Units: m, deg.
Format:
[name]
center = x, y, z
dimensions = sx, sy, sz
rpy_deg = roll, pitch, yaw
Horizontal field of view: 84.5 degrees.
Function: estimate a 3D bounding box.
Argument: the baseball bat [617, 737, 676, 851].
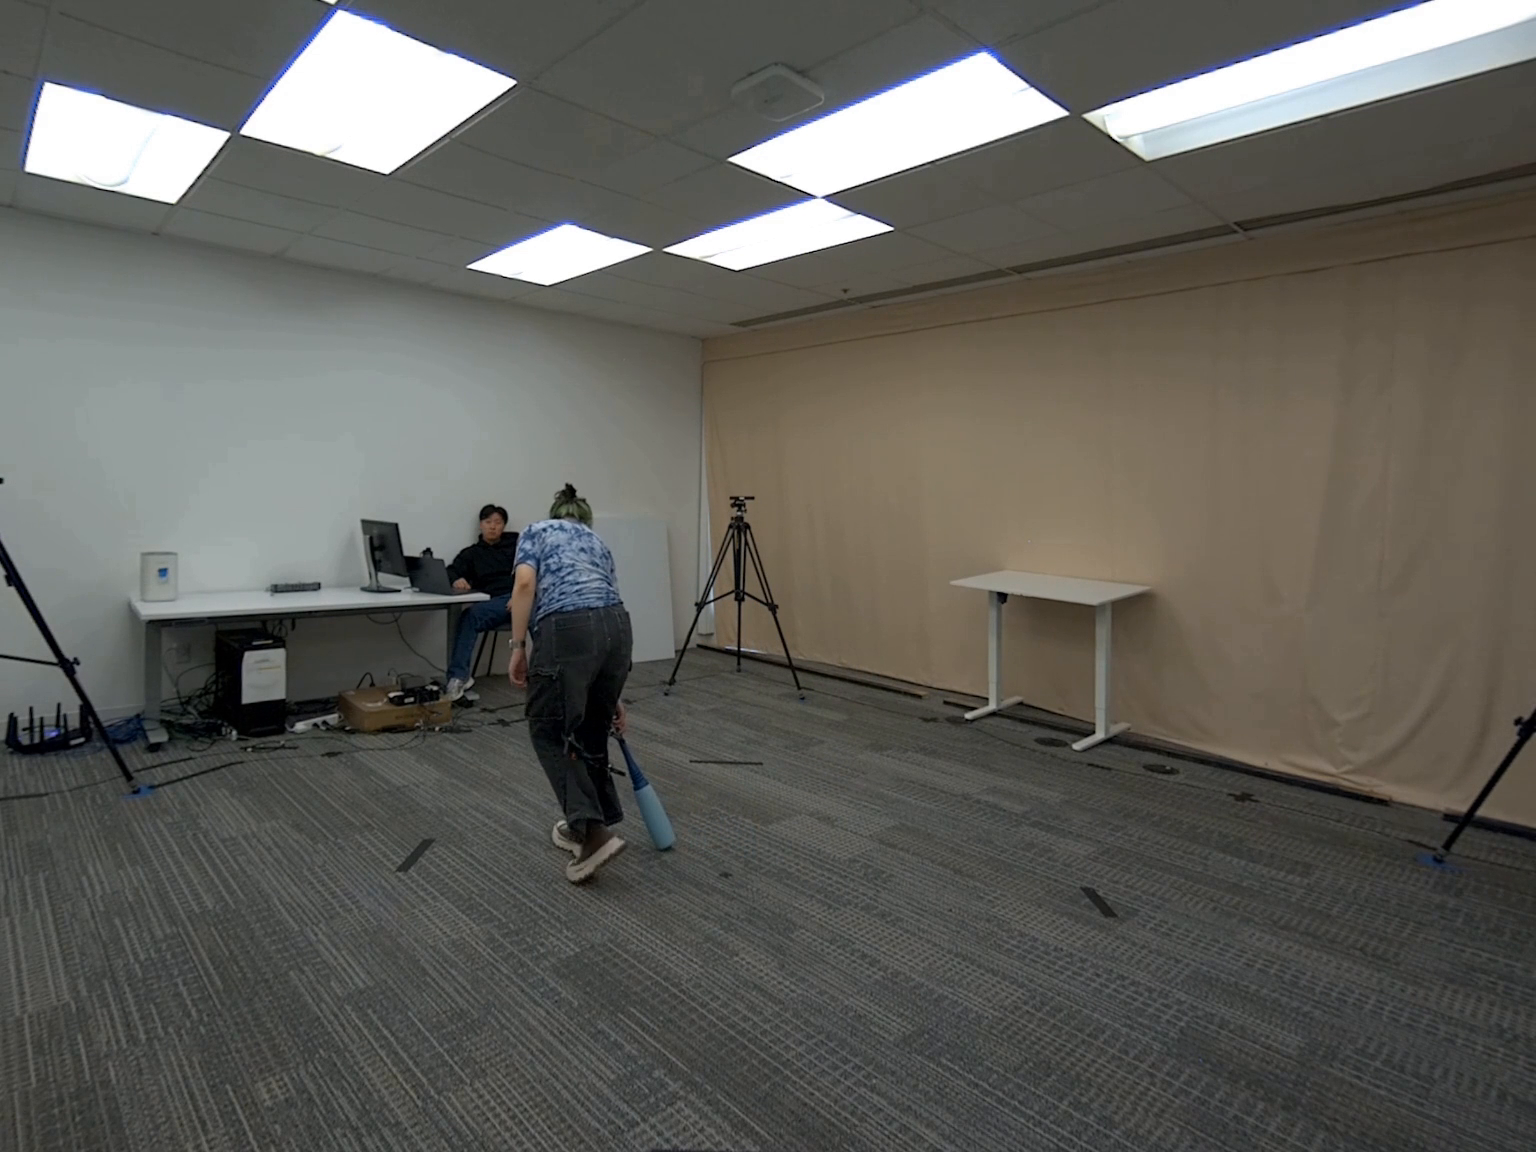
[baseball bat]
center = -0.517, 0.825, 3.344
dimensions = 0.089, 0.545, 0.089
rpy_deg = -25, -4, -3
